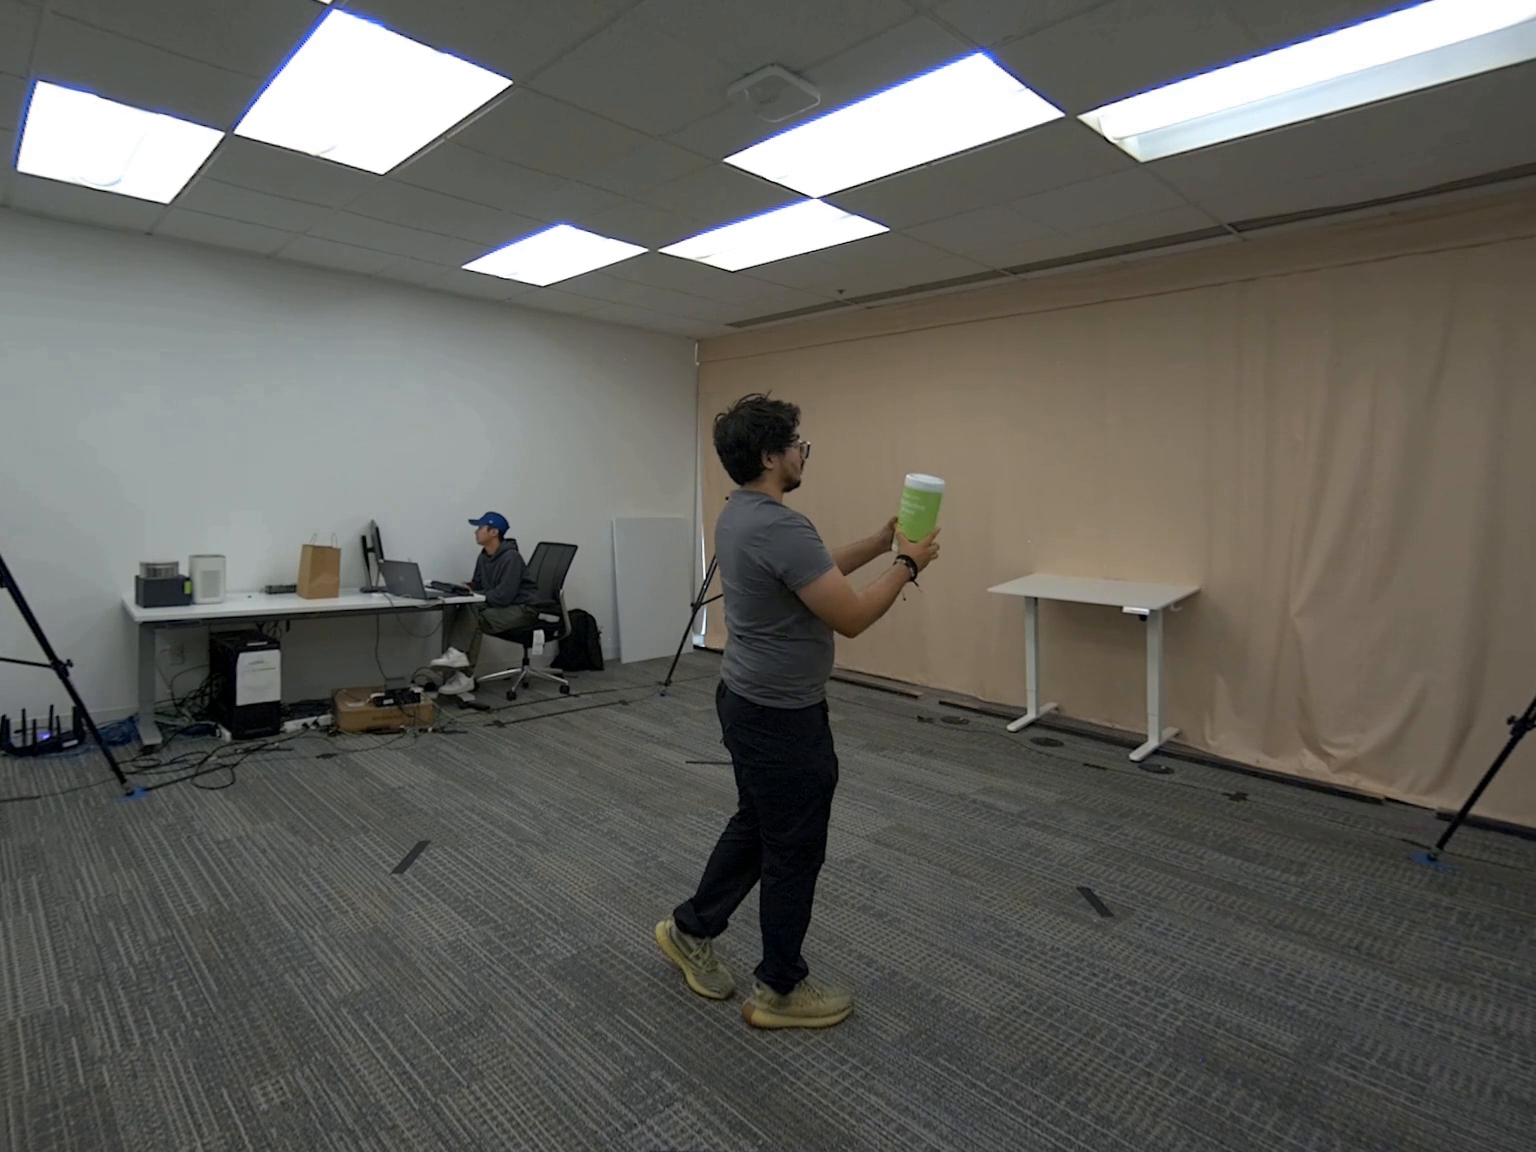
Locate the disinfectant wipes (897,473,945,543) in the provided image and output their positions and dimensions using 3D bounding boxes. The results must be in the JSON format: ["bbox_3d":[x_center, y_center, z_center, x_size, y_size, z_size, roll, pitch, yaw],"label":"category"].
[{"bbox_3d":[0.406,-0.162,2.286,0.117,0.216,0.119,8,13,-3],"label":"disinfectant wipes"}]
